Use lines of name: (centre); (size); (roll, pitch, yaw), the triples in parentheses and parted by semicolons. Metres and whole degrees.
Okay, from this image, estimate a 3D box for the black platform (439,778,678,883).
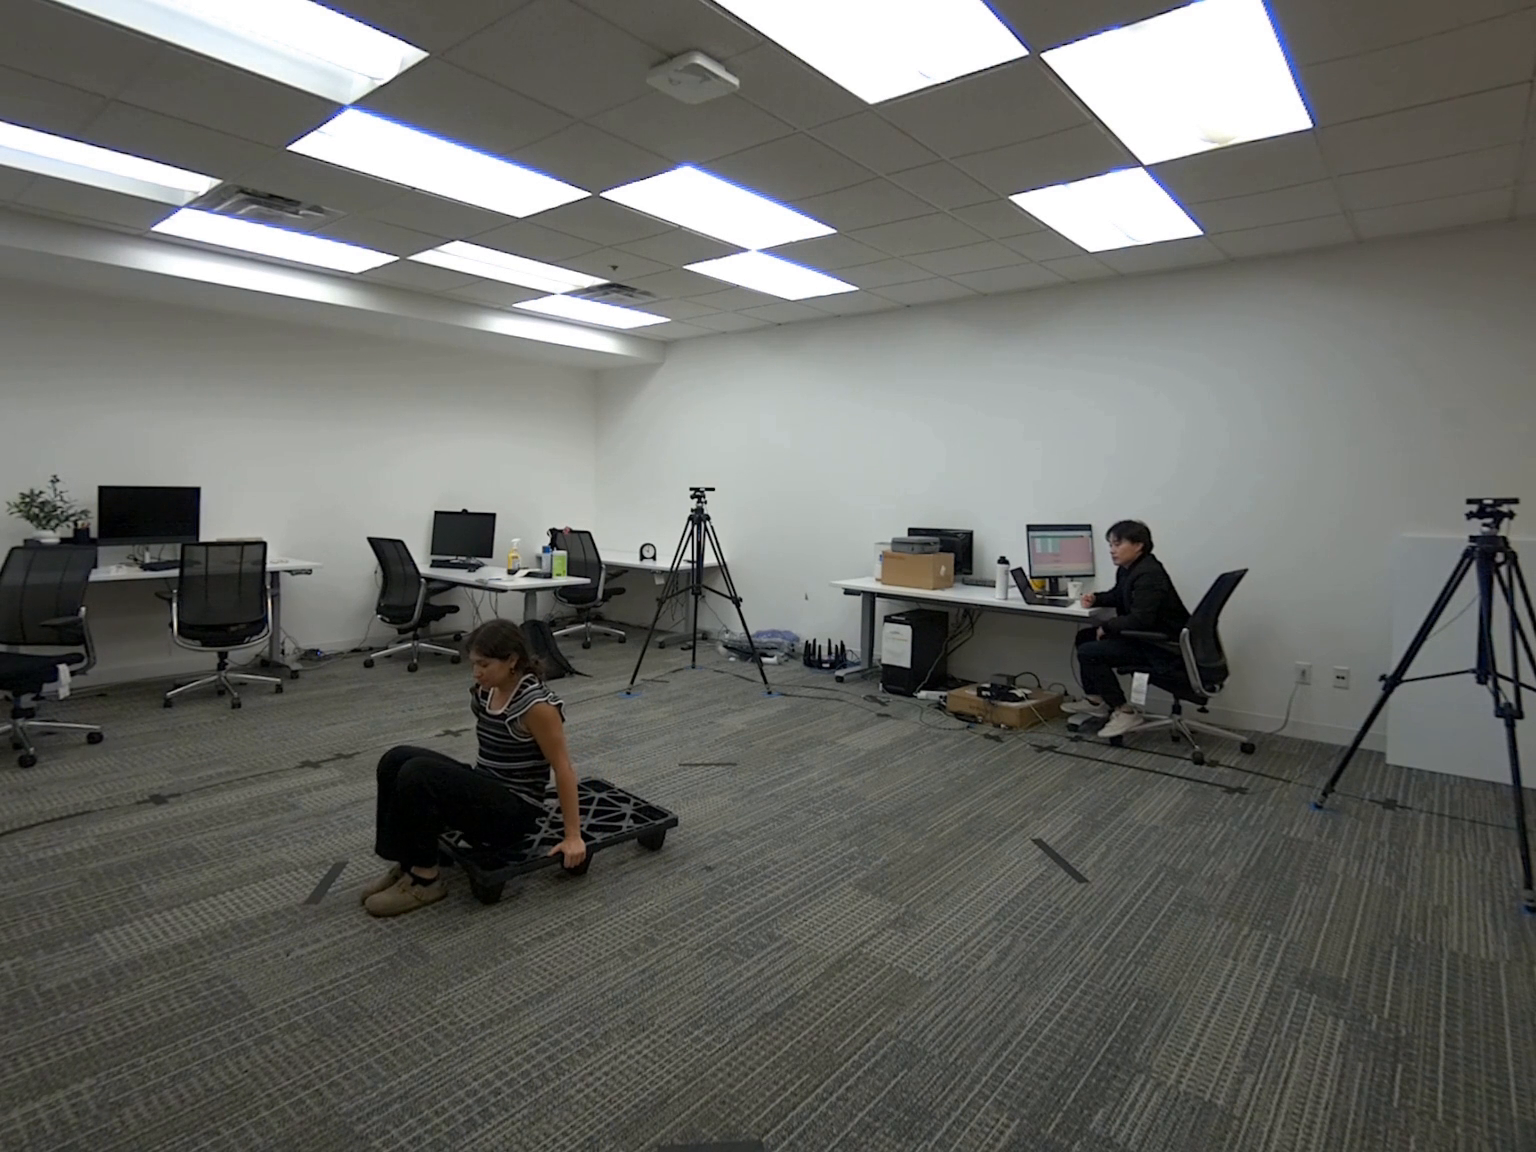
black platform: (-0.839, 0.976, 3.212); (0.781, 0.143, 0.625); (-4, 7, -42)
